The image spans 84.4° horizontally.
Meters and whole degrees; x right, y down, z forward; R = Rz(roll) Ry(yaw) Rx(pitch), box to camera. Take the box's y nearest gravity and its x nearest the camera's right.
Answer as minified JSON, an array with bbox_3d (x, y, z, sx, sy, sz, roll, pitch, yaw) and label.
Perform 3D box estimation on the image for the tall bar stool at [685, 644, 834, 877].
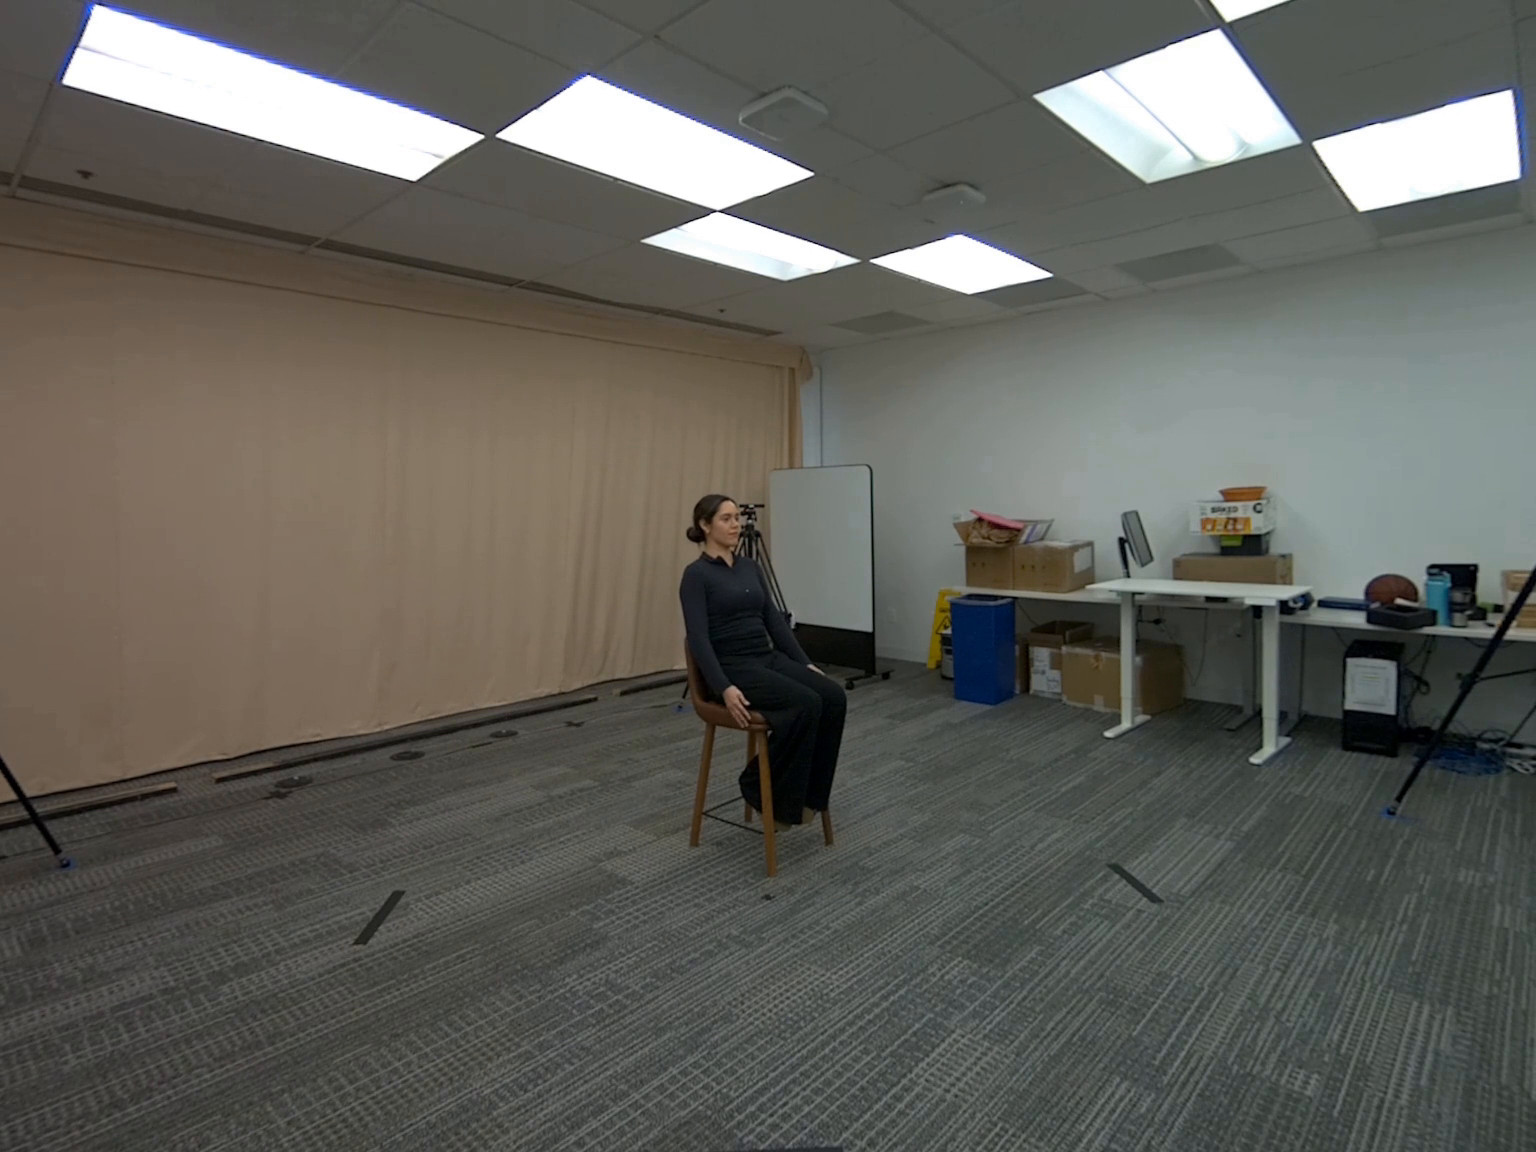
[{"bbox_3d":[-0.046,0.666,3.431,0.482,0.889,0.443,-1,2,41],"label":"tall bar stool"}]
